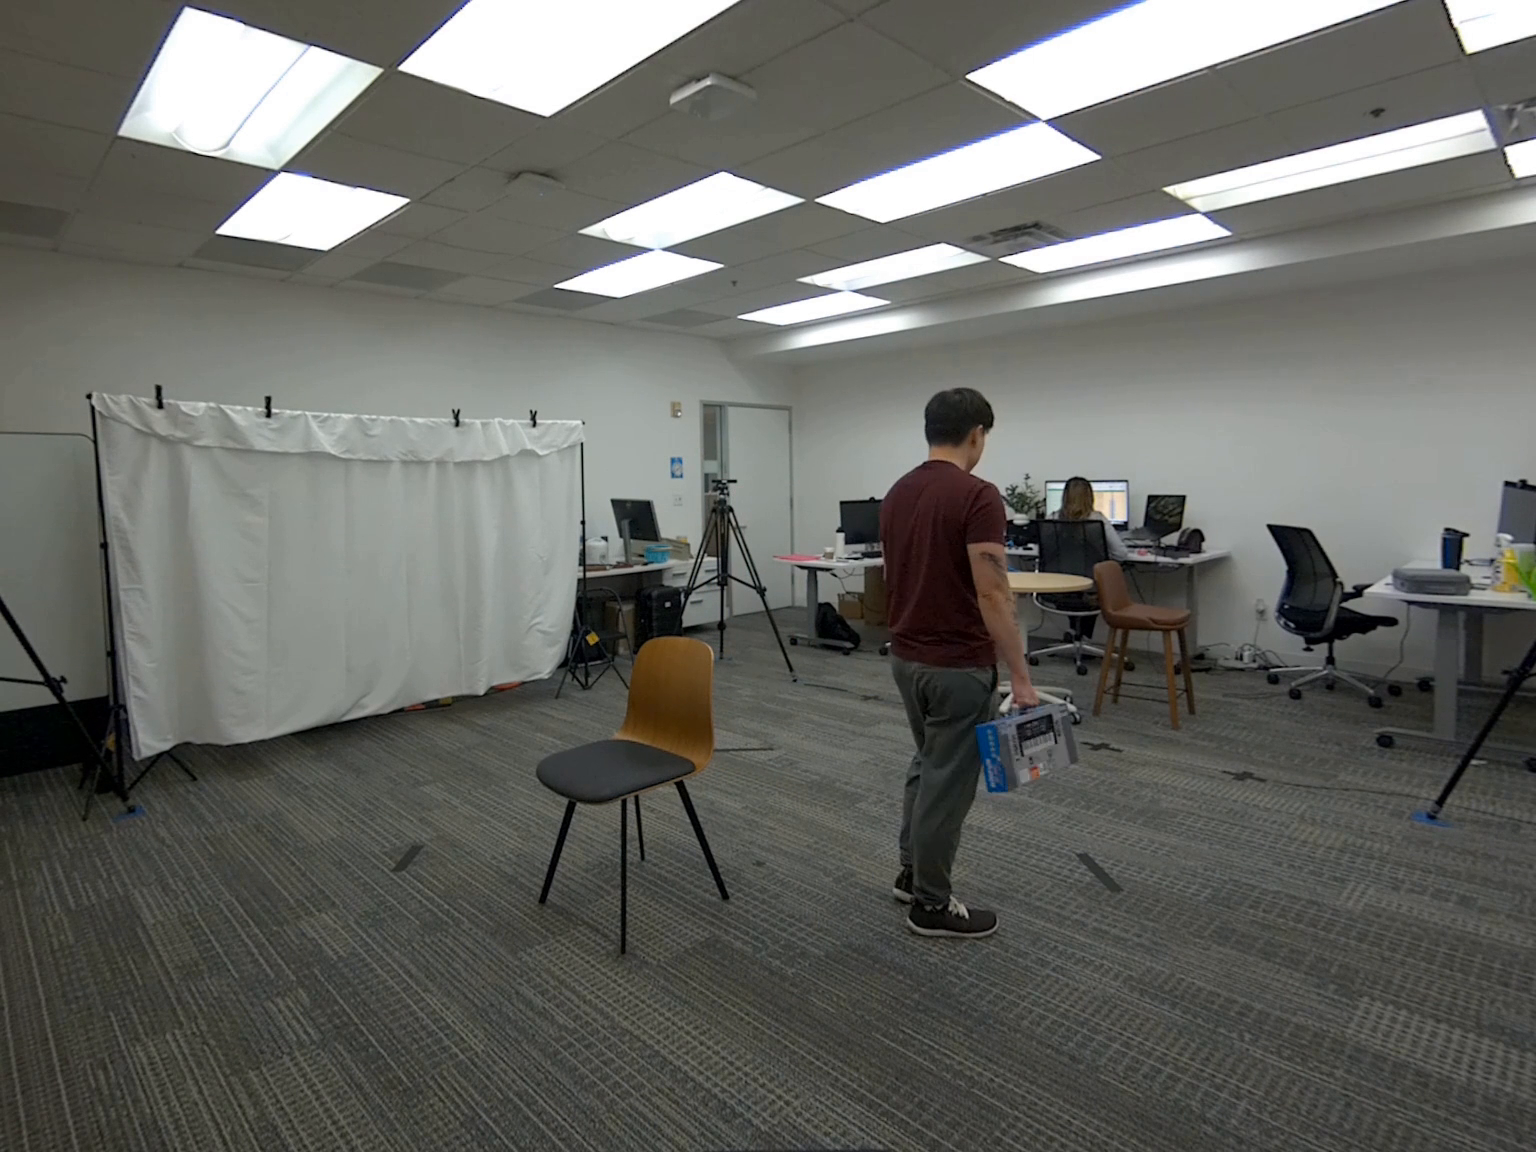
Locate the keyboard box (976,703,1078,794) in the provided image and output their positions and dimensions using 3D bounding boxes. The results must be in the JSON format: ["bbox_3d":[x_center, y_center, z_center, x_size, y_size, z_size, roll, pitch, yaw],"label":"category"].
[{"bbox_3d":[0.718,0.469,2.369,0.060,0.177,0.424,-12,-7,42],"label":"keyboard box"}]
